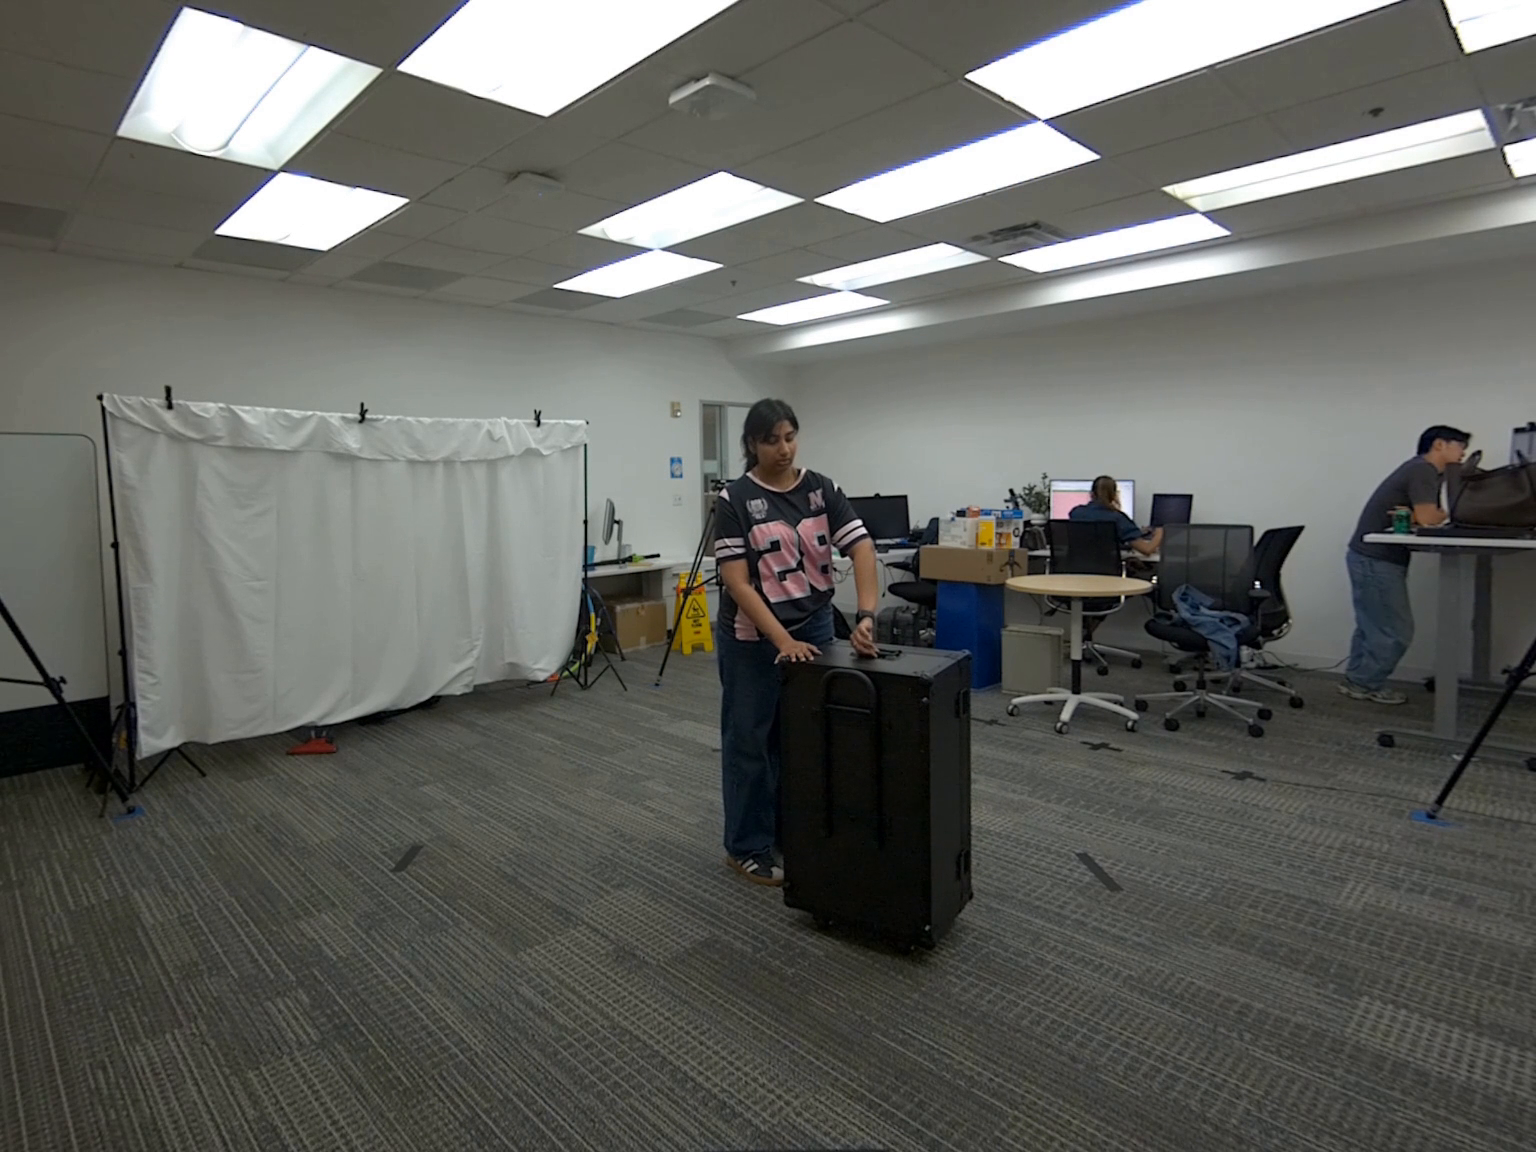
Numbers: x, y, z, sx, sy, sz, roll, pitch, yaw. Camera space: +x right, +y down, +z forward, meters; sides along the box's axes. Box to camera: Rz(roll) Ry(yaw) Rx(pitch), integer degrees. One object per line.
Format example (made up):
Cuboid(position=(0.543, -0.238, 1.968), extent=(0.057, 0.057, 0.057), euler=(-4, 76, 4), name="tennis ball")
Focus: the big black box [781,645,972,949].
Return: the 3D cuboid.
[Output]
Cuboid(position=(0.346, 0.672, 2.632), extent=(0.537, 0.865, 0.377), euler=(1, 6, 31), name="big black box")
